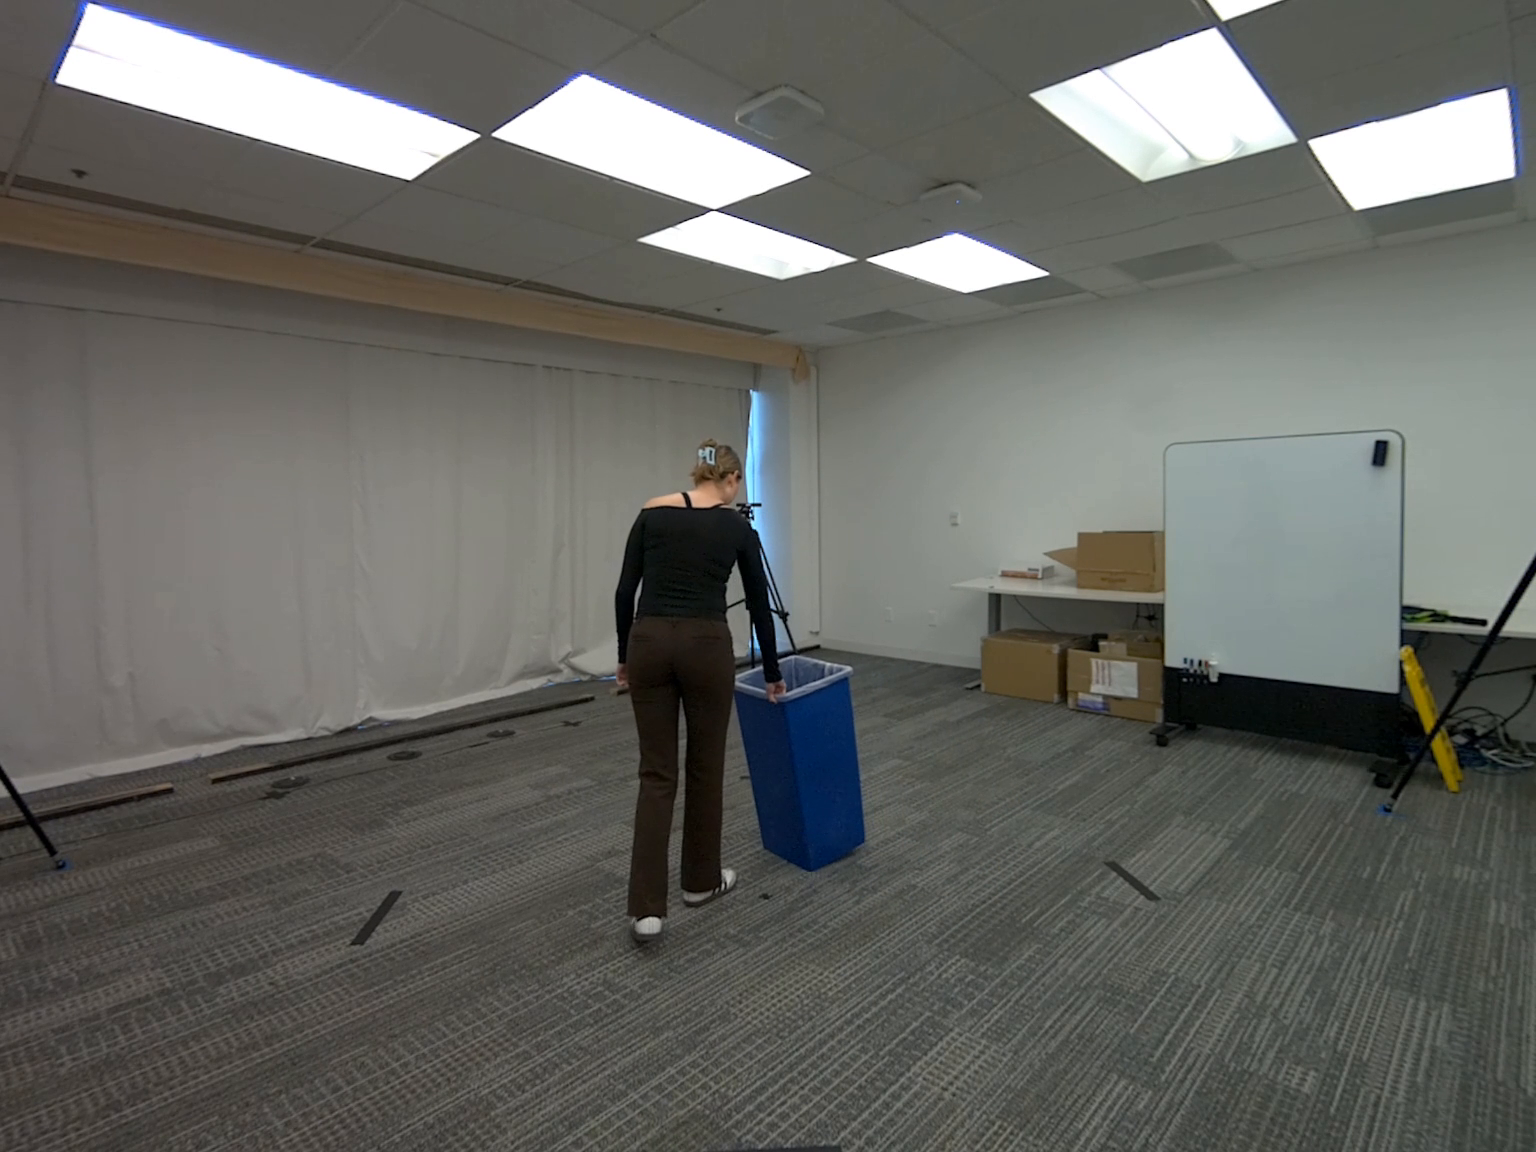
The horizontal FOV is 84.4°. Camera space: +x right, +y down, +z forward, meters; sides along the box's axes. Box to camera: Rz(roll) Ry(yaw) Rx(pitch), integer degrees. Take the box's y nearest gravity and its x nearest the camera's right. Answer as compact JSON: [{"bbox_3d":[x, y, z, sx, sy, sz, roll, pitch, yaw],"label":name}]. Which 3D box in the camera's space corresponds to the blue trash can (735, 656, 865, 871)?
[{"bbox_3d":[0.129,0.727,3.310,0.365,0.709,0.390,-14,10,-35],"label":"blue trash can"}]
